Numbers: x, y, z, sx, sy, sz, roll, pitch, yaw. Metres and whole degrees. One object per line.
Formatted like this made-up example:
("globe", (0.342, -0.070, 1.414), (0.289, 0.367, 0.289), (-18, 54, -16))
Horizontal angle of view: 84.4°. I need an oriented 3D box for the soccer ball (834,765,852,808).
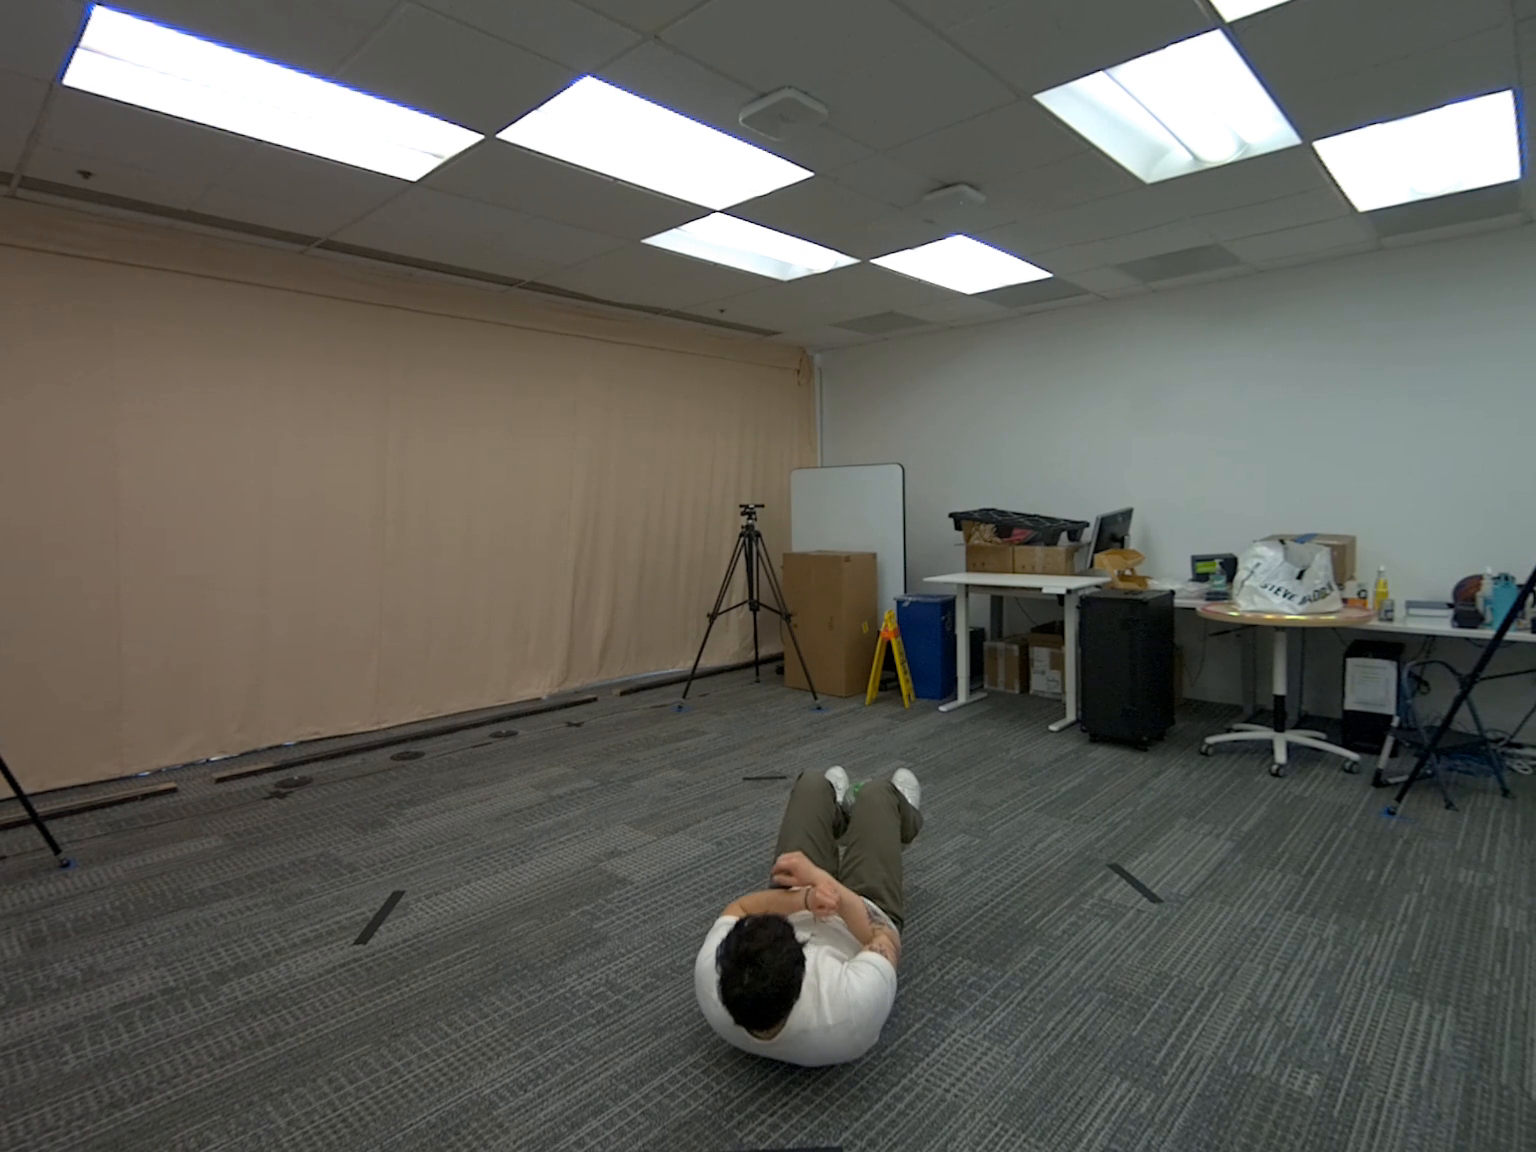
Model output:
("soccer ball", (0.369, 0.808, 2.933), (0.187, 0.187, 0.188), (-1, 4, -2))
